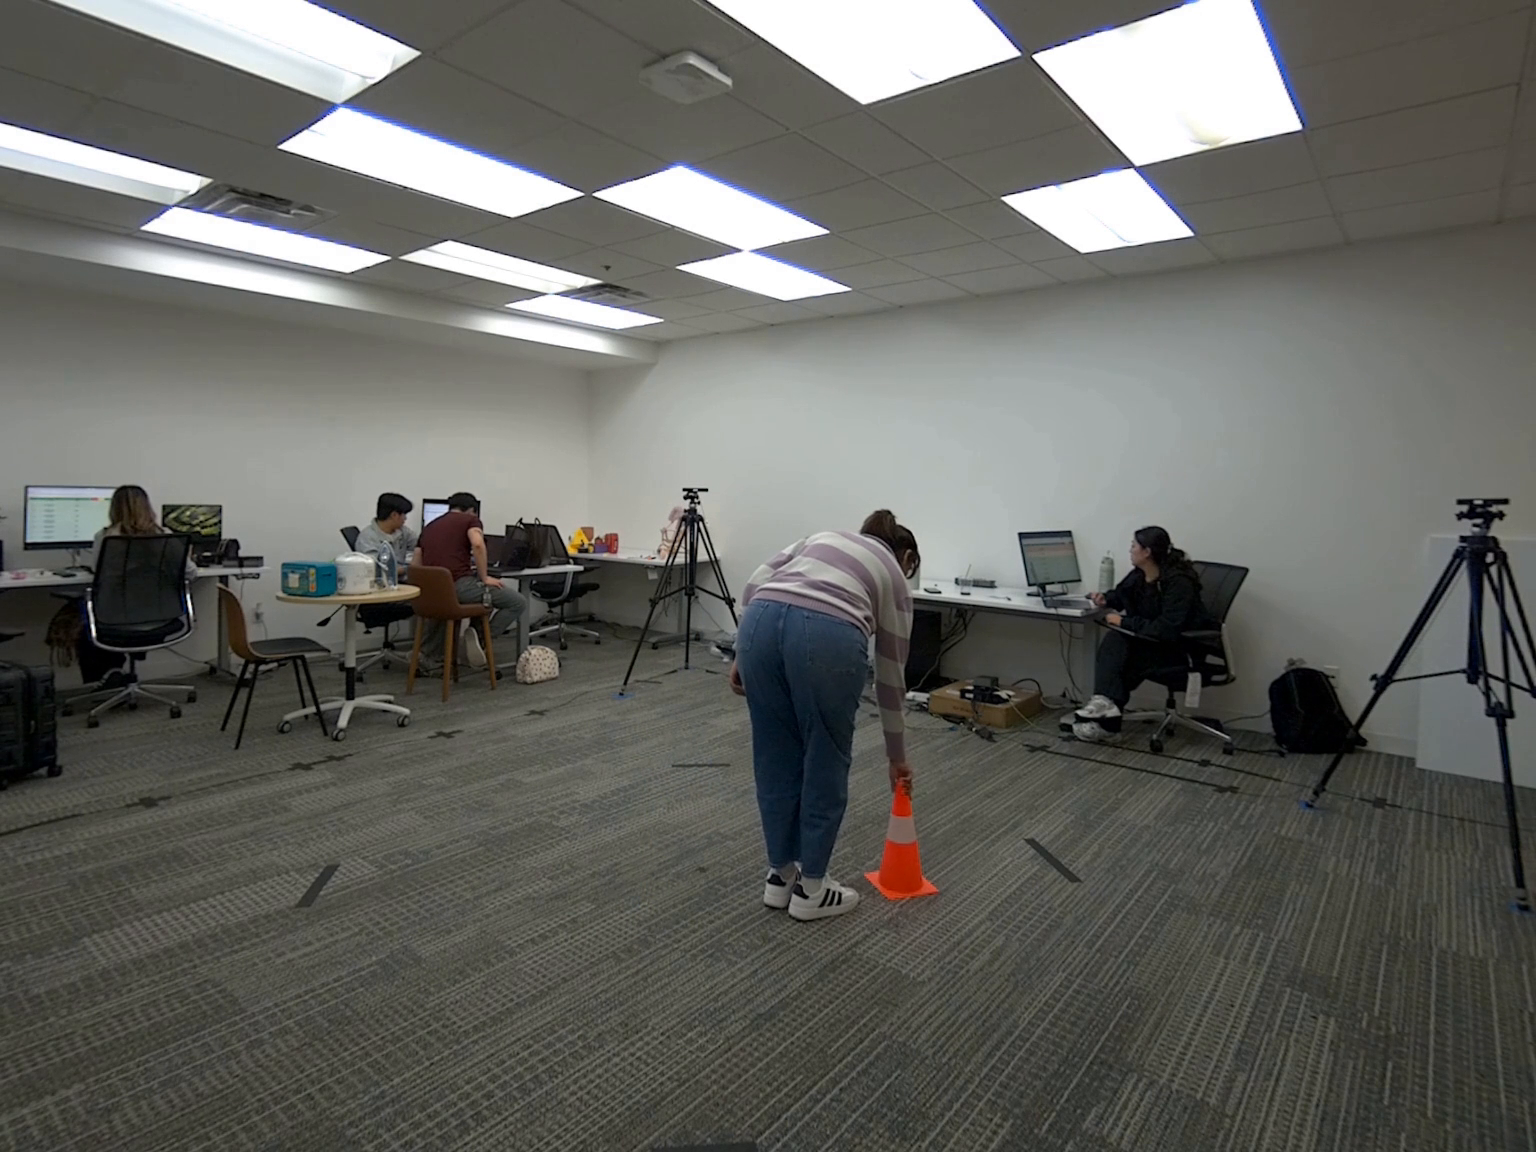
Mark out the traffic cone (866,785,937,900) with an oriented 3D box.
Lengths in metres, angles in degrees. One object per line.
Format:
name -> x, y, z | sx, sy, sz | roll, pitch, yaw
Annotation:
traffic cone -> 0.465, 0.903, 3.016 | 0.200, 0.381, 0.210 | -2, 7, -18
